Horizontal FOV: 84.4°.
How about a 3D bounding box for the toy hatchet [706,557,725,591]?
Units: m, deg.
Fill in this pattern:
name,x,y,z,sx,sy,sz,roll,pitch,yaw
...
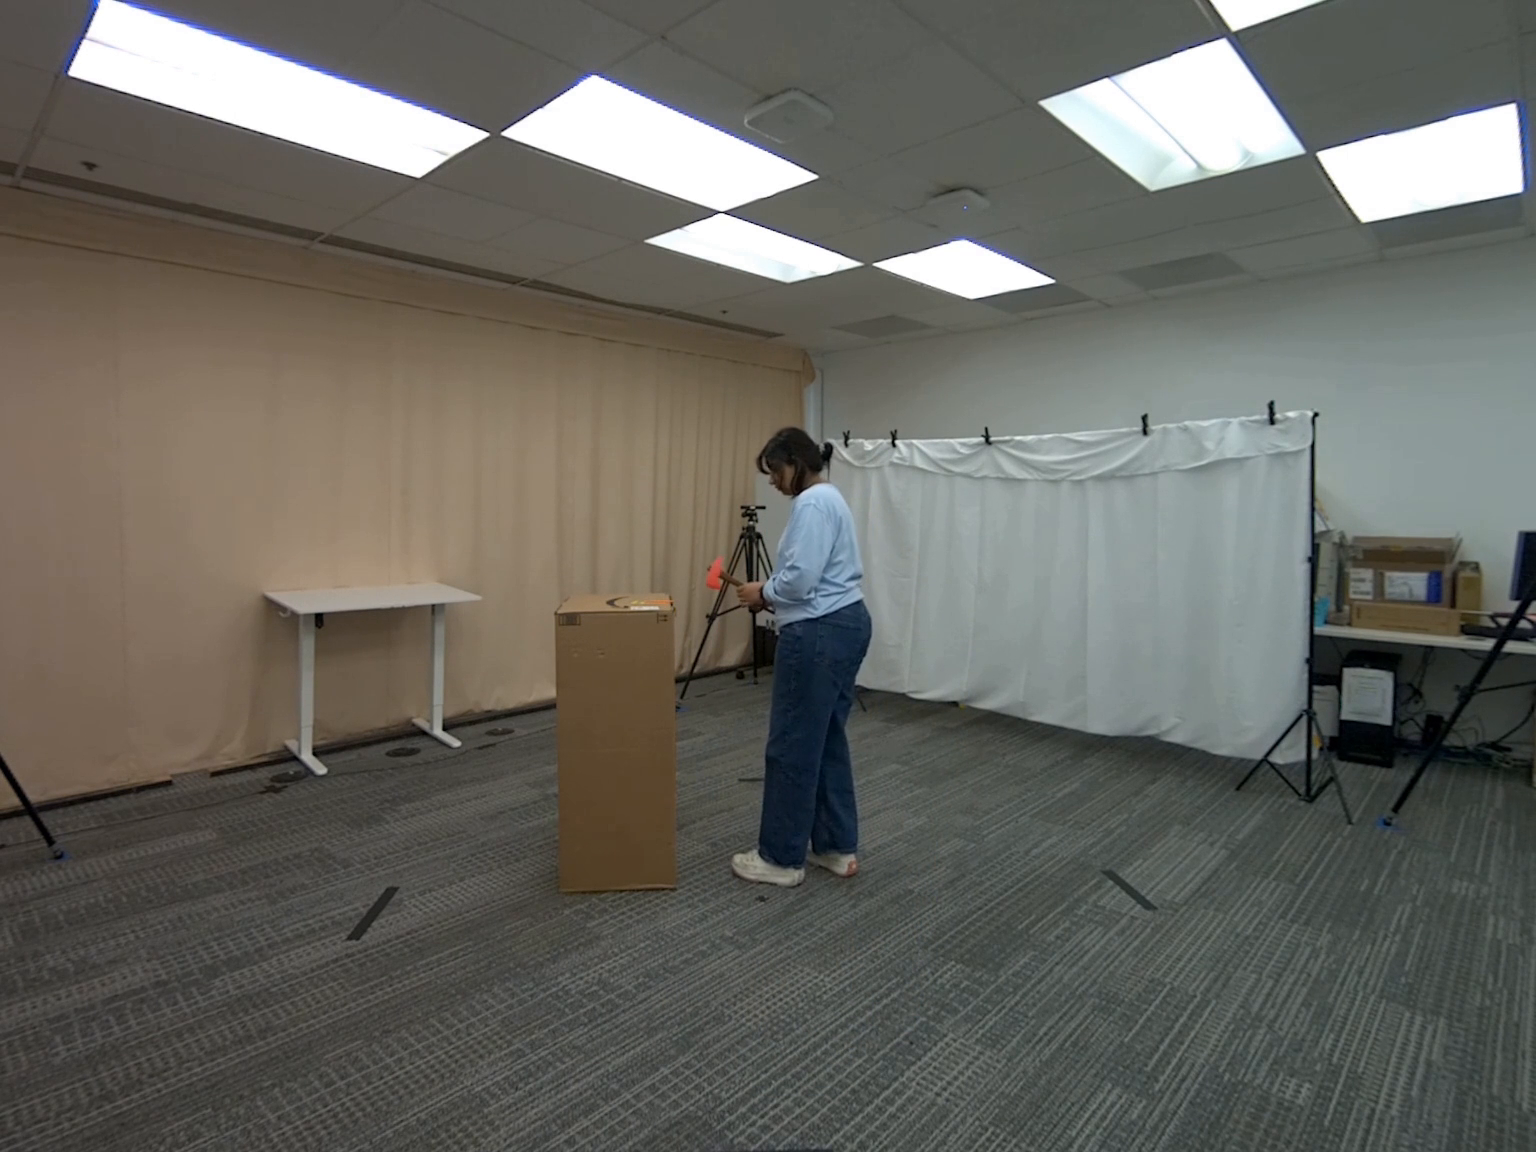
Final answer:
name,x,y,z,sx,sy,sz,roll,pitch,yaw
toy hatchet,-0.117,0.044,3.242,0.130,0.270,0.030,-45,0,-20
